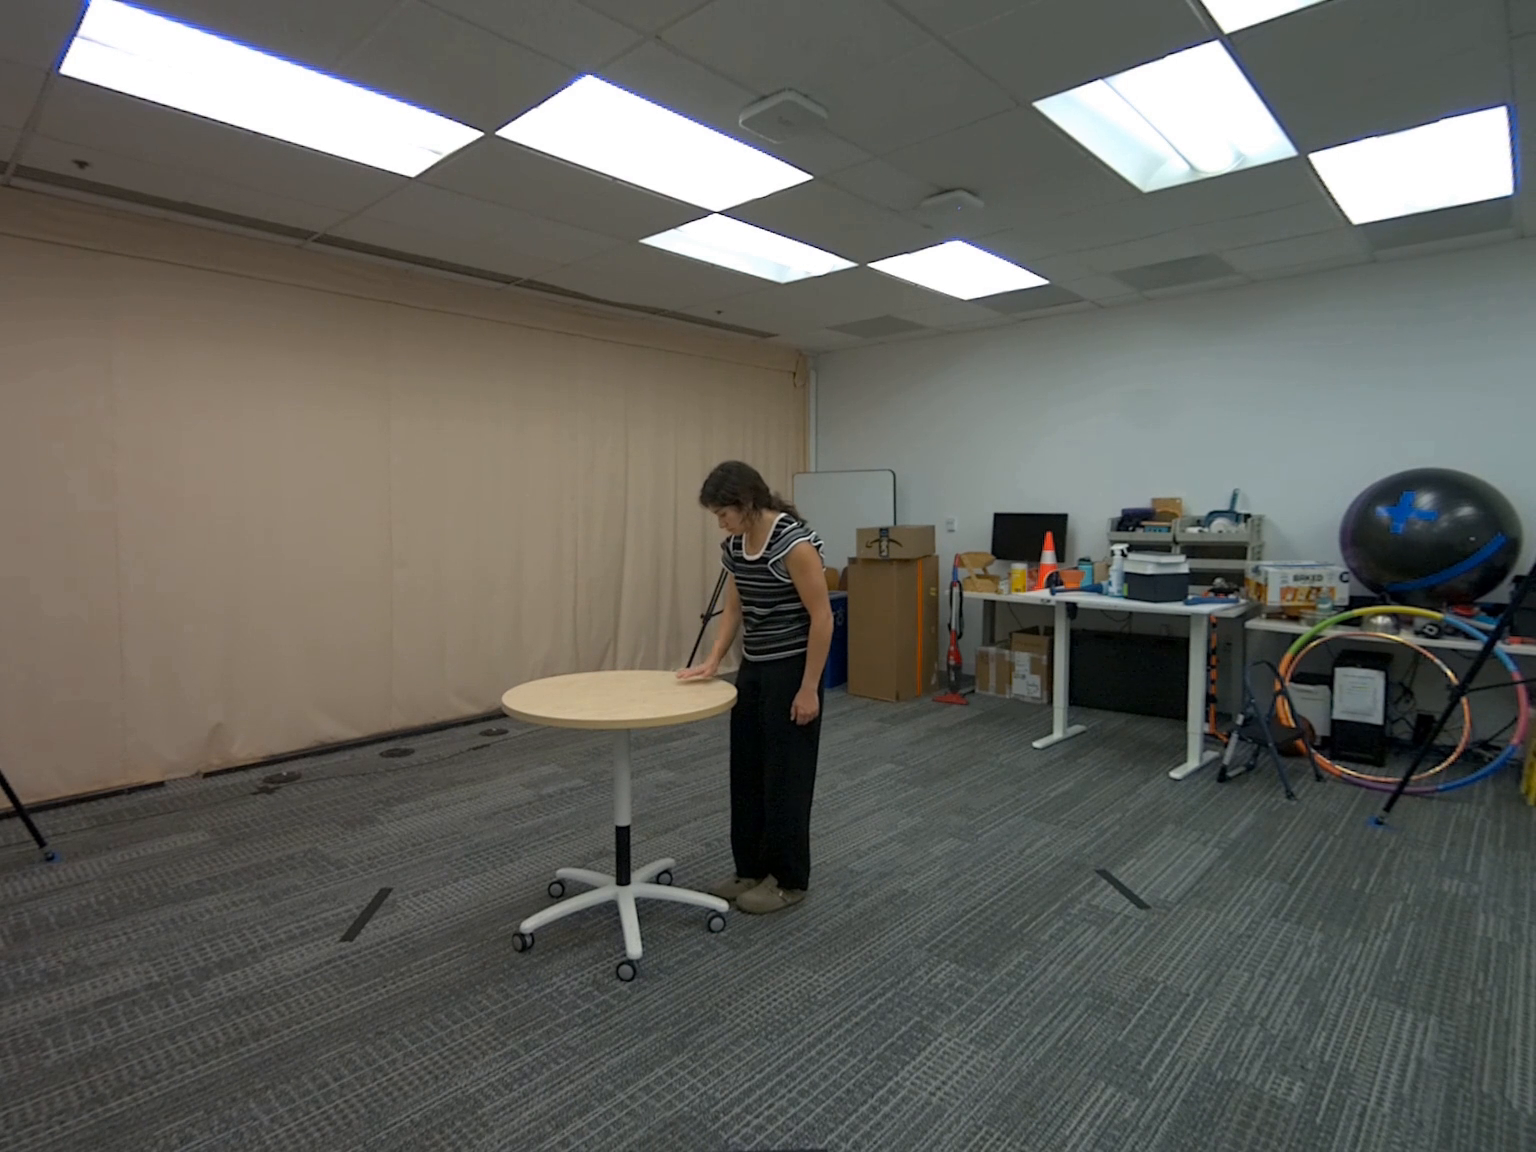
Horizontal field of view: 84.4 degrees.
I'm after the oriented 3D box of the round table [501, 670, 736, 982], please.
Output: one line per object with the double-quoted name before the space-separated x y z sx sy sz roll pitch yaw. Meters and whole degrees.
"round table" -0.483 0.777 2.786 0.763 0.792 0.766 0 3 -2
